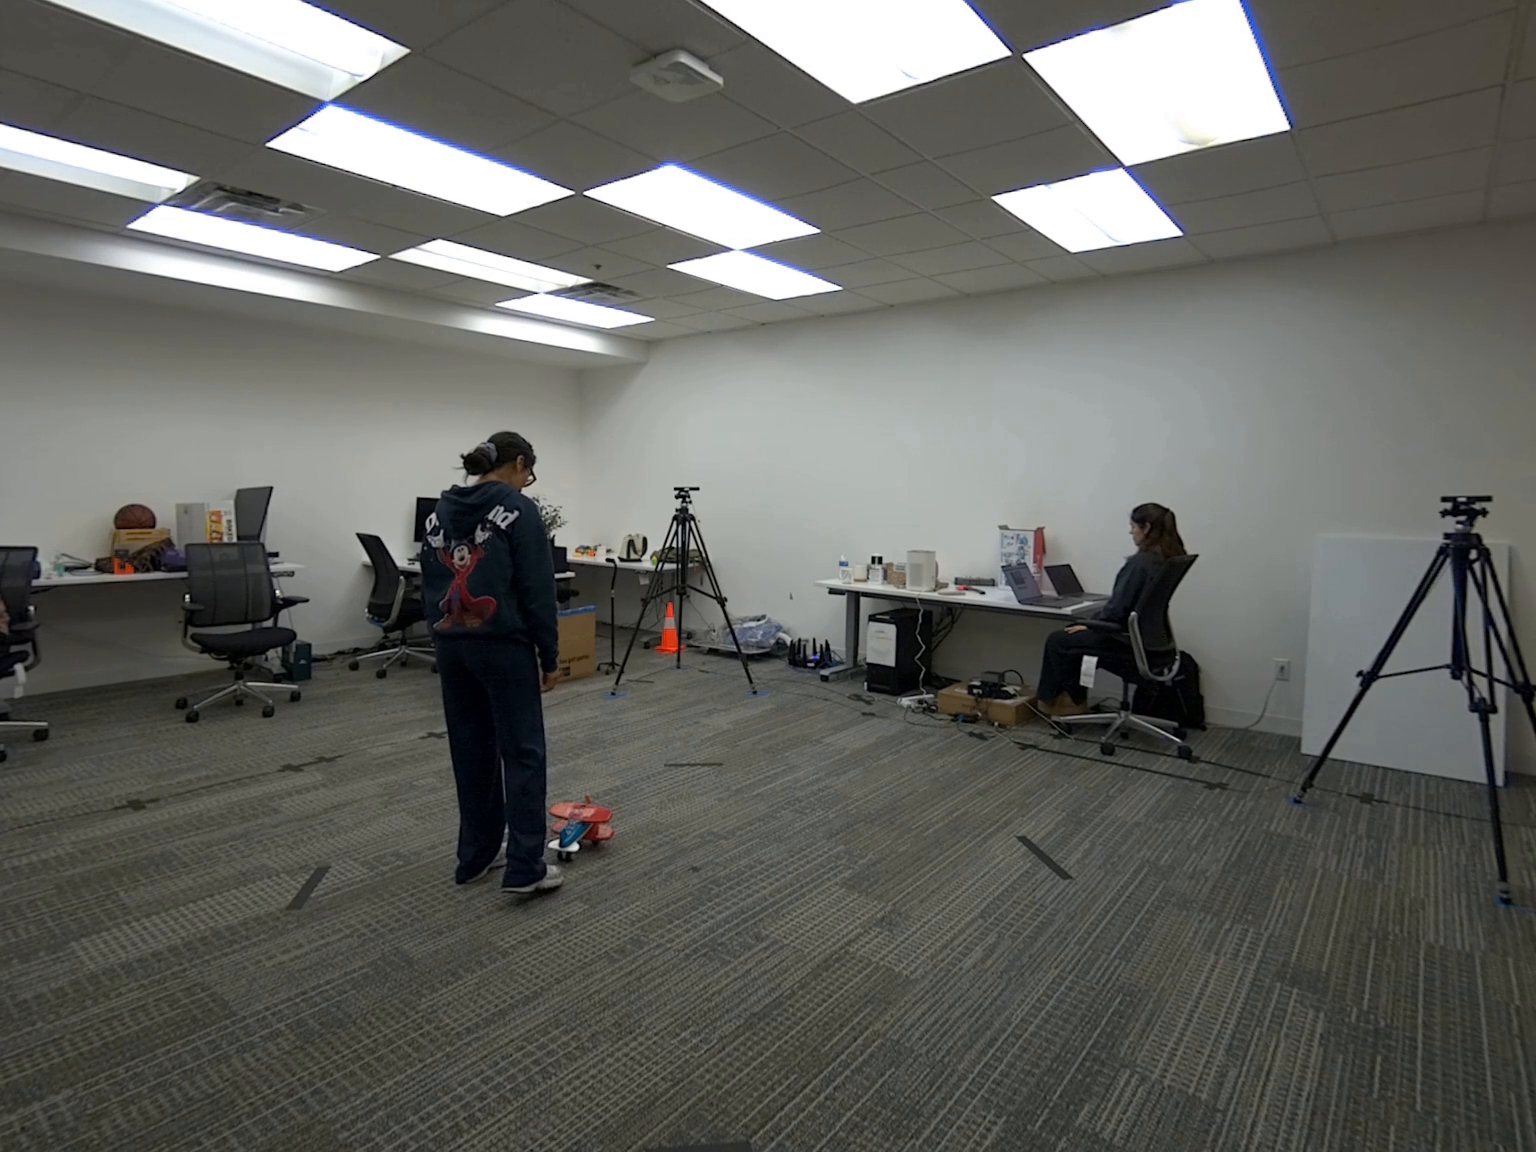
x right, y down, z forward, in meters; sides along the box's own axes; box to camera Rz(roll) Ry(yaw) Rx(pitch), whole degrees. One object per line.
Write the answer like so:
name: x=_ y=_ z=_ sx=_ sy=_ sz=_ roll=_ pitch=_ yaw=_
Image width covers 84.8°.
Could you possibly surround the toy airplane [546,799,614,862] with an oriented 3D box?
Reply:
toy airplane: x=-0.721 y=0.971 z=3.242 sx=0.247 sy=0.156 sz=0.264 roll=-2 pitch=5 yaw=-14
